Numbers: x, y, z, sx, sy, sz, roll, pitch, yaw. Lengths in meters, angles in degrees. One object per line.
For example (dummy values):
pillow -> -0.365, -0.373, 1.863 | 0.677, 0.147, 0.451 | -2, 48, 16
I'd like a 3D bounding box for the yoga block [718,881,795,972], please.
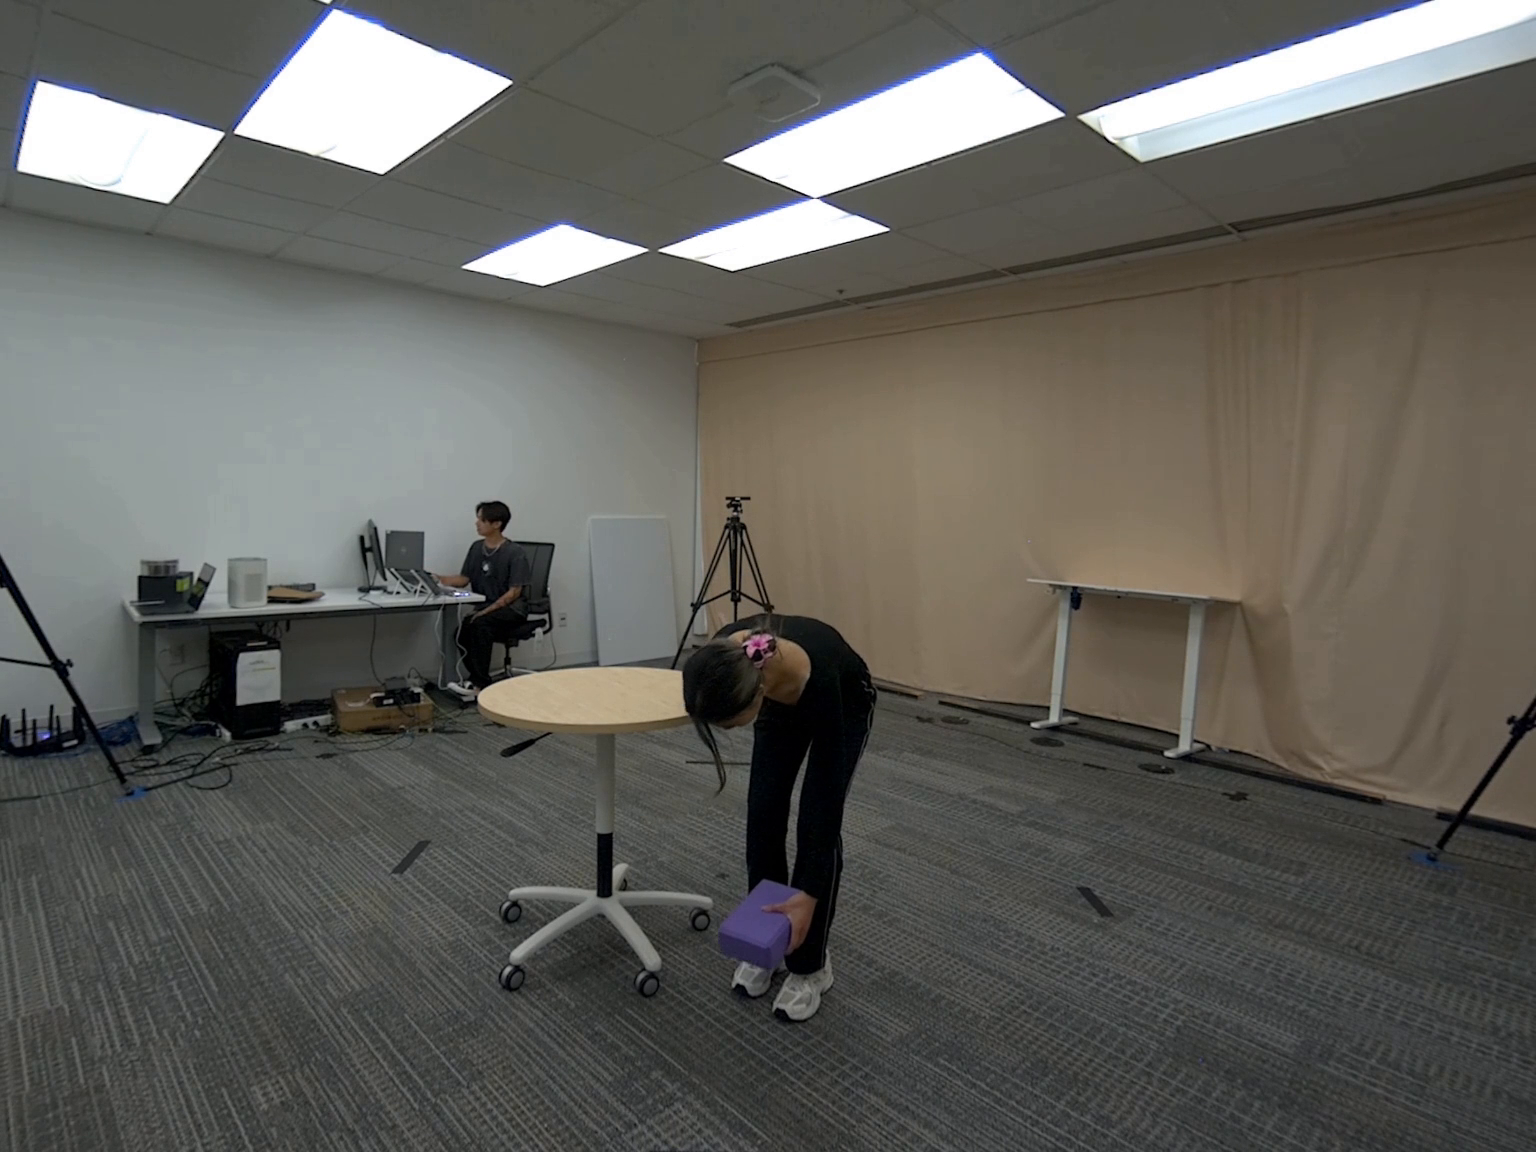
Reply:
yoga block -> -0.010, 0.868, 2.083 | 0.152, 0.076, 0.227 | 3, 16, 29
